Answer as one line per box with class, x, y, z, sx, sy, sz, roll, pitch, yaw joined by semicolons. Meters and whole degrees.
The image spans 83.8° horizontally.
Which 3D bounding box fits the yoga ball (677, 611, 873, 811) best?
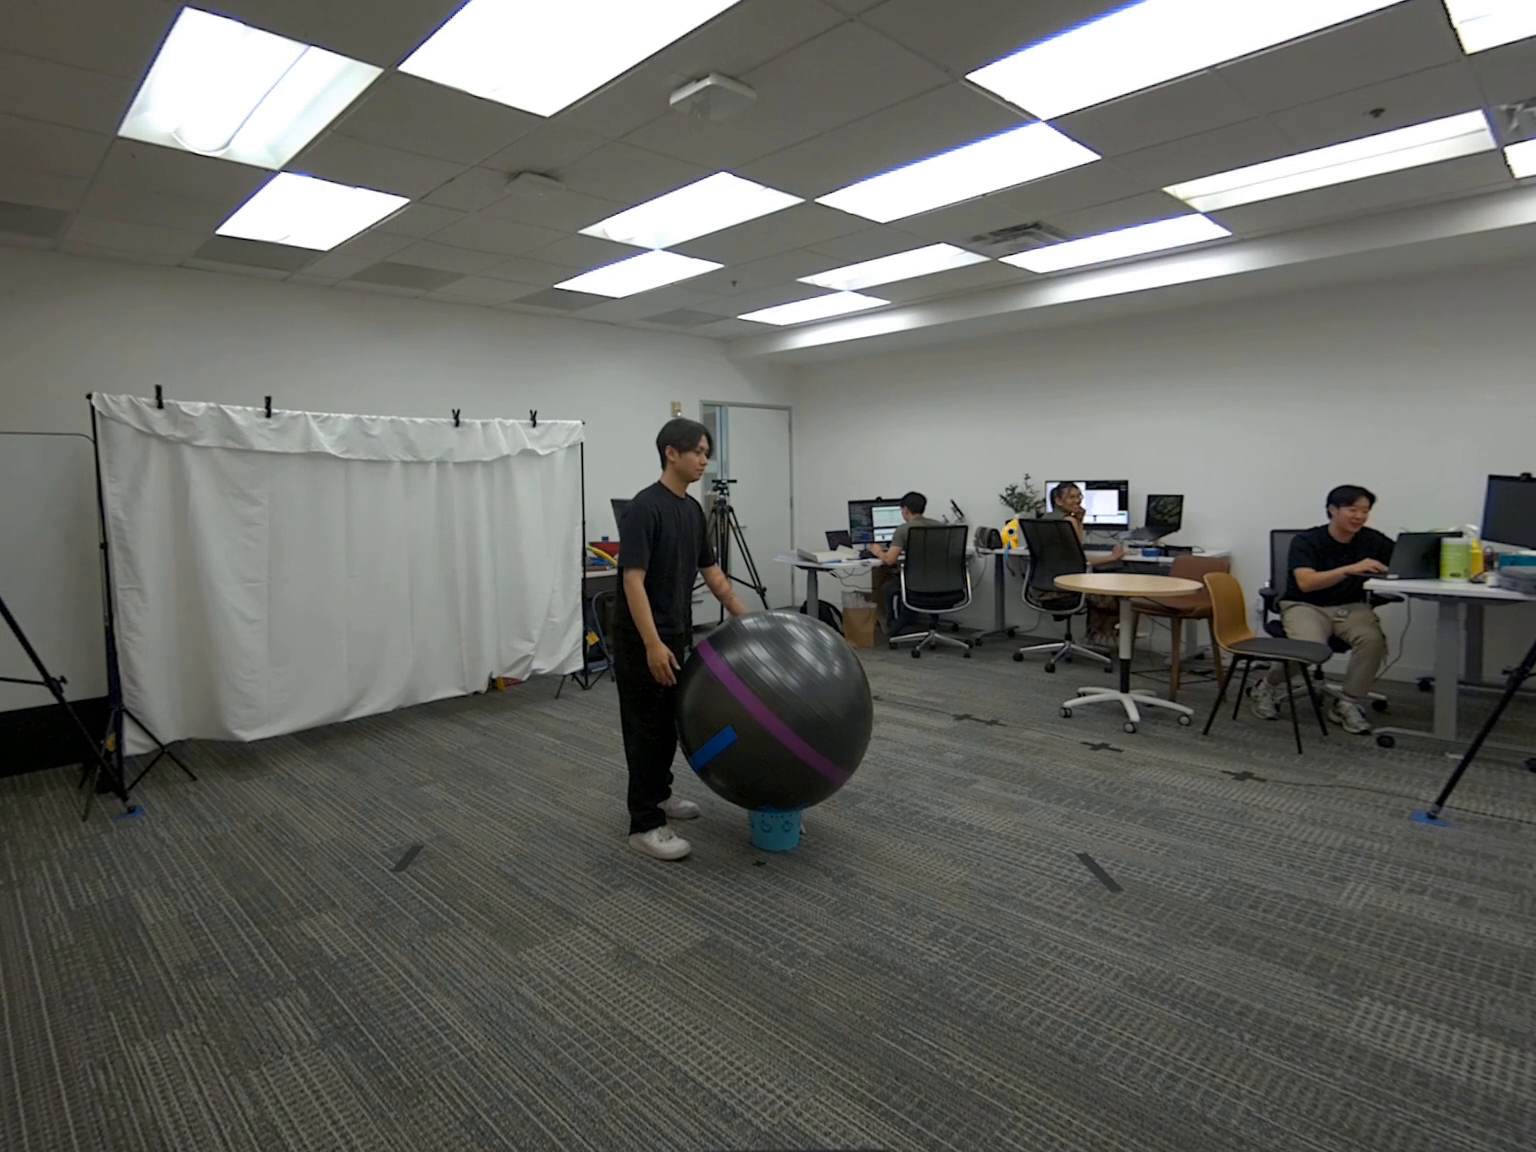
yoga ball;0.022;0.515;3.288;0.757;0.755;0.762;-1;5;-2
